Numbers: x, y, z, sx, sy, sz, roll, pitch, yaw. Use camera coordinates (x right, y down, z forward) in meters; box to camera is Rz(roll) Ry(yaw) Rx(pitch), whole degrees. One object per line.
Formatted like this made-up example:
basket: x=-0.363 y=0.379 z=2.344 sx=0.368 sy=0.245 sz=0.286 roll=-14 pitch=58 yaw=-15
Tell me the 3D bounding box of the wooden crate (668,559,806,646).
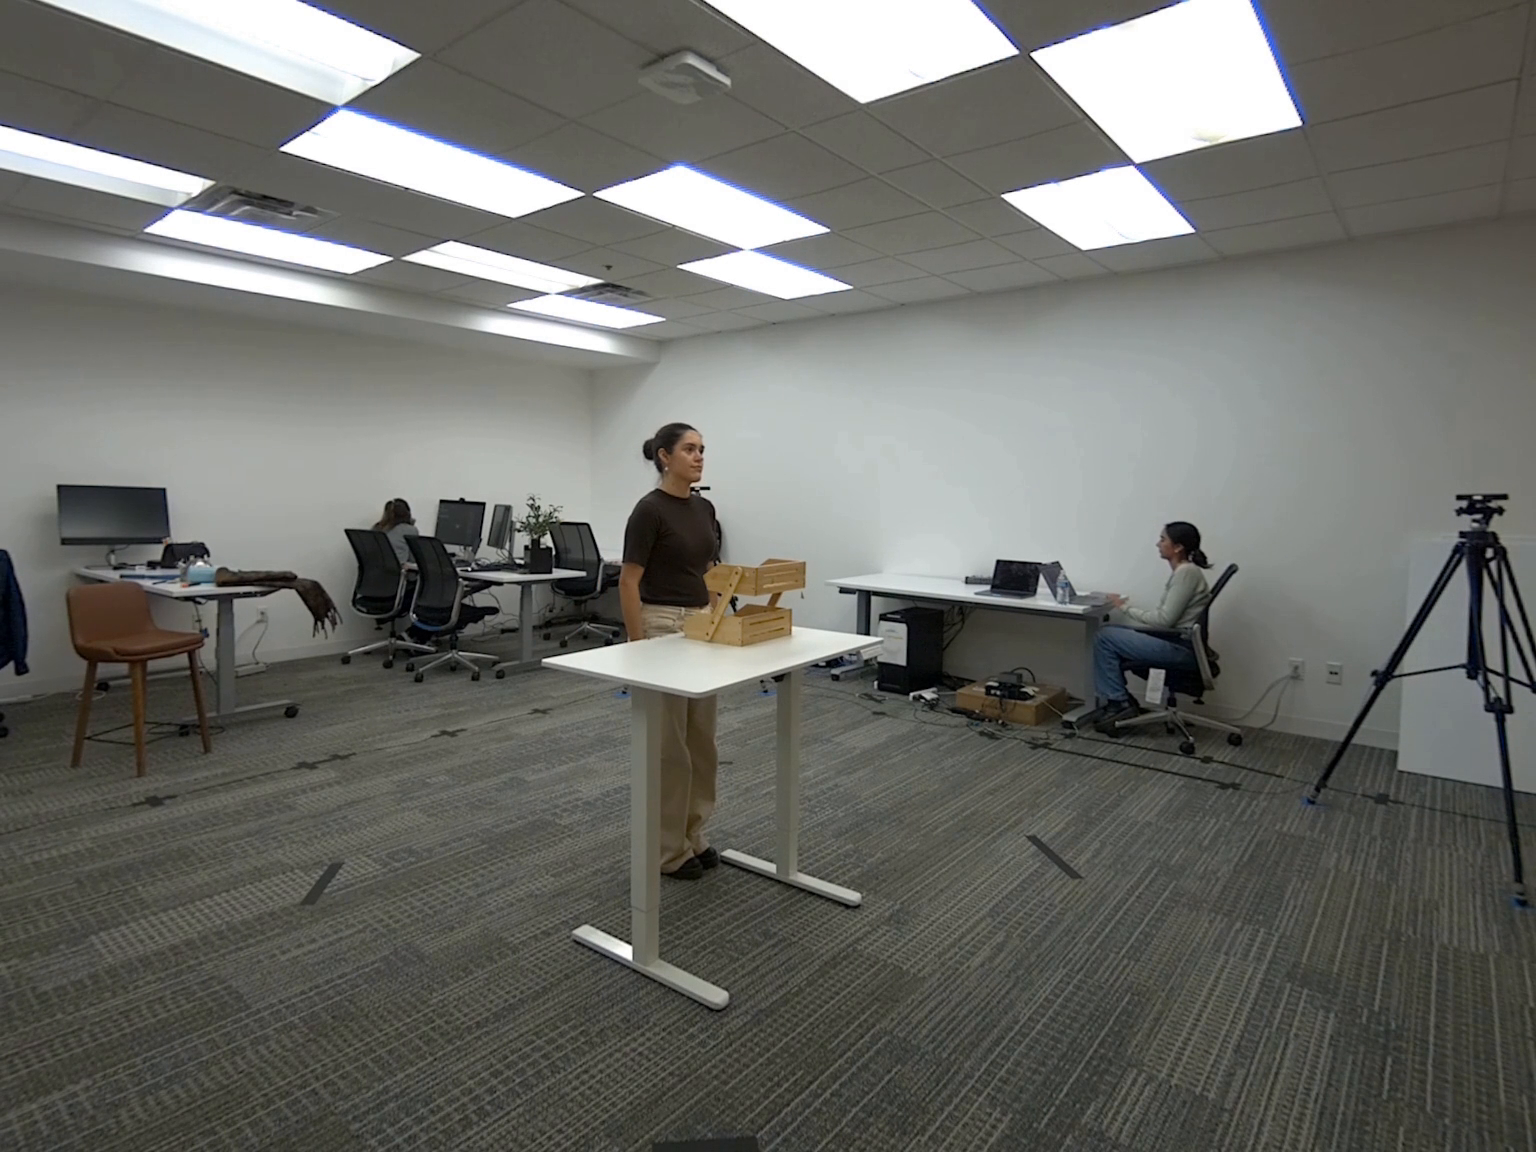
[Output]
wooden crate: x=-0.092 y=0.071 z=2.887 sx=0.312 sy=0.272 sz=0.315 roll=5 pitch=6 yaw=35
